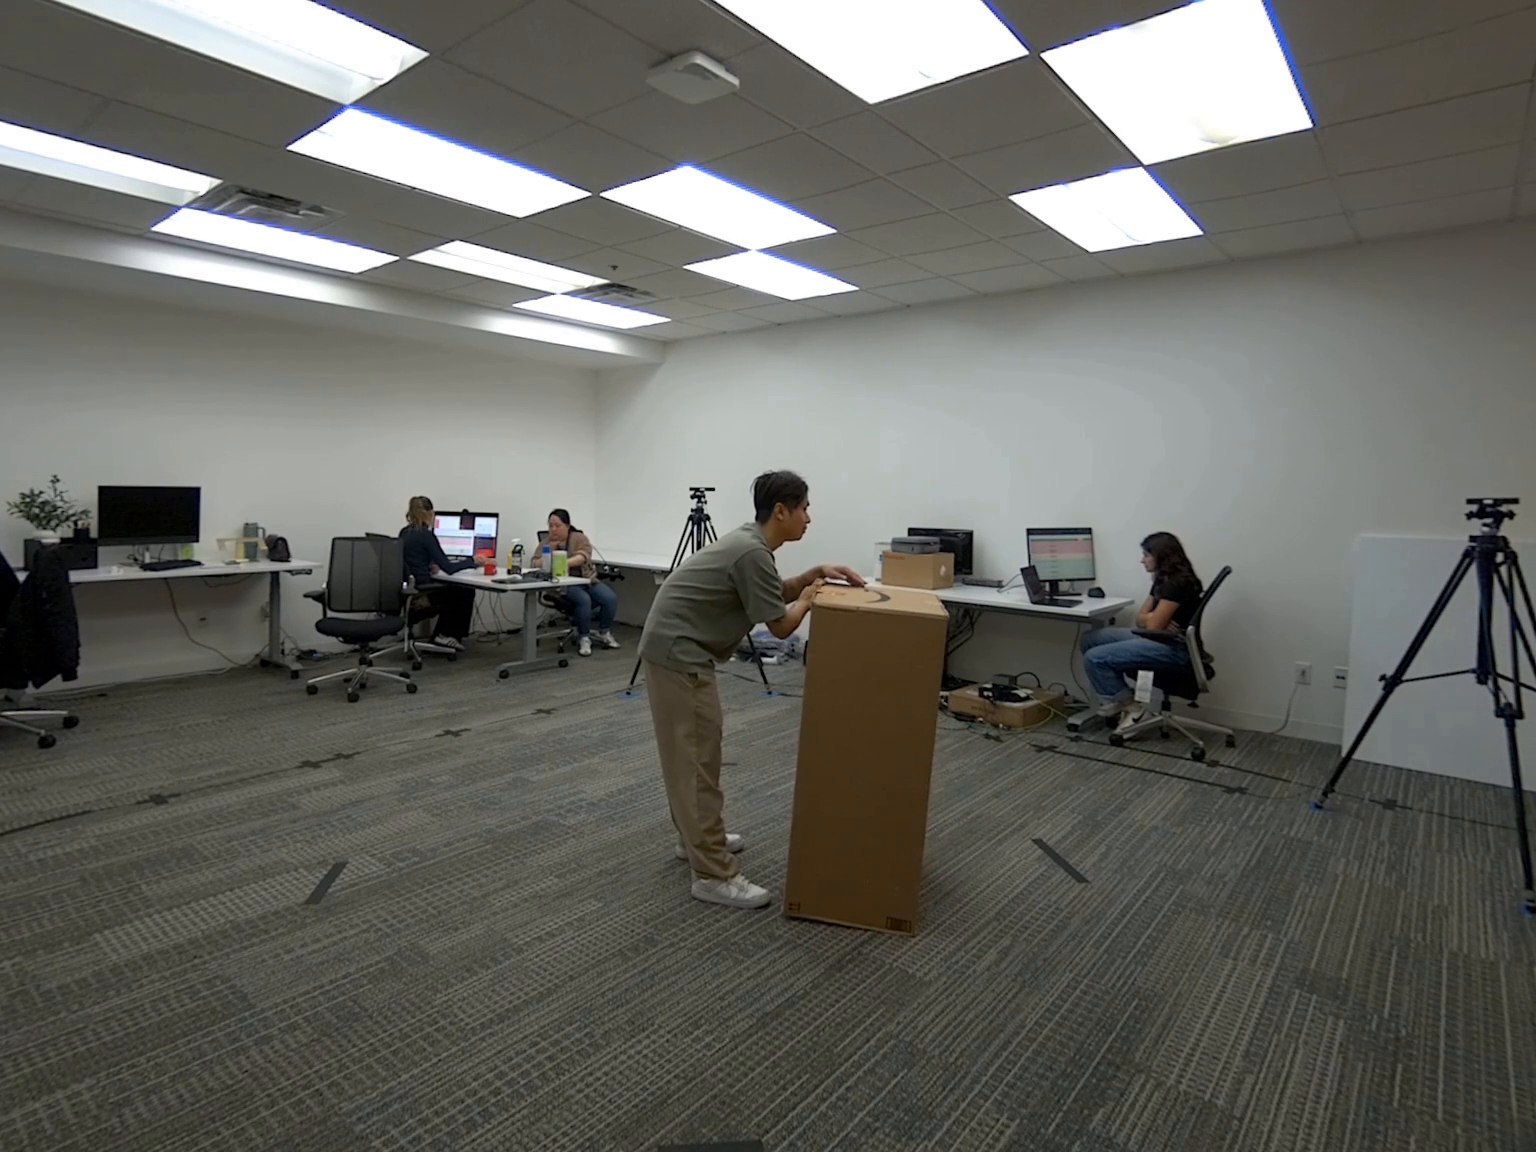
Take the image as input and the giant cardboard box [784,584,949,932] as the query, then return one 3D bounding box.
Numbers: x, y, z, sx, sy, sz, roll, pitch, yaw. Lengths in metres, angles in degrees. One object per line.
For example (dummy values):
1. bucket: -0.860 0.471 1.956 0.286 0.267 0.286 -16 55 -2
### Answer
1. giant cardboard box: 0.327 0.576 2.940 0.431 1.022 0.574 6 5 7
